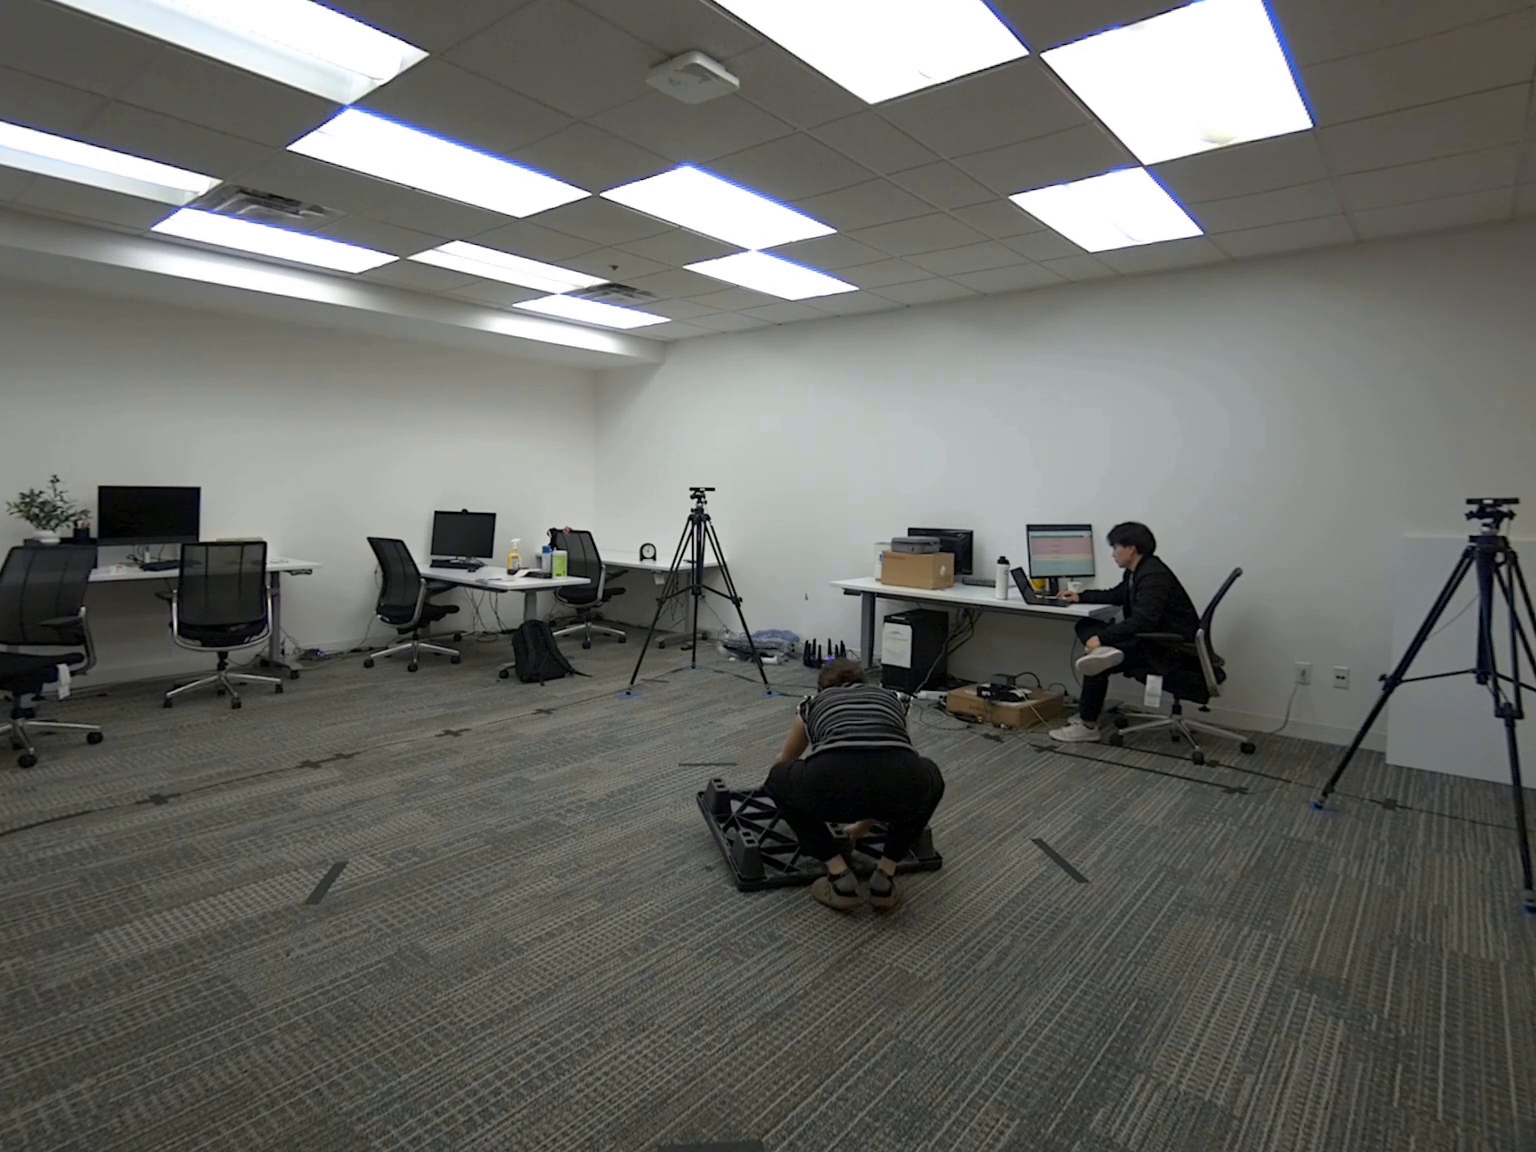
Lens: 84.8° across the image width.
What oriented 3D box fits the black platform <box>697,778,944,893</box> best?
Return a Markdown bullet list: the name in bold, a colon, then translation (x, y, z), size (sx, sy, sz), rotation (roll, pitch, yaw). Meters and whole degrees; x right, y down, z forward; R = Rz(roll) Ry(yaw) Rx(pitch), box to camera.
- **black platform**: translation (0.172, 0.933, 3.300), size (0.790, 0.141, 0.624), rotation (0, 17, -19)
